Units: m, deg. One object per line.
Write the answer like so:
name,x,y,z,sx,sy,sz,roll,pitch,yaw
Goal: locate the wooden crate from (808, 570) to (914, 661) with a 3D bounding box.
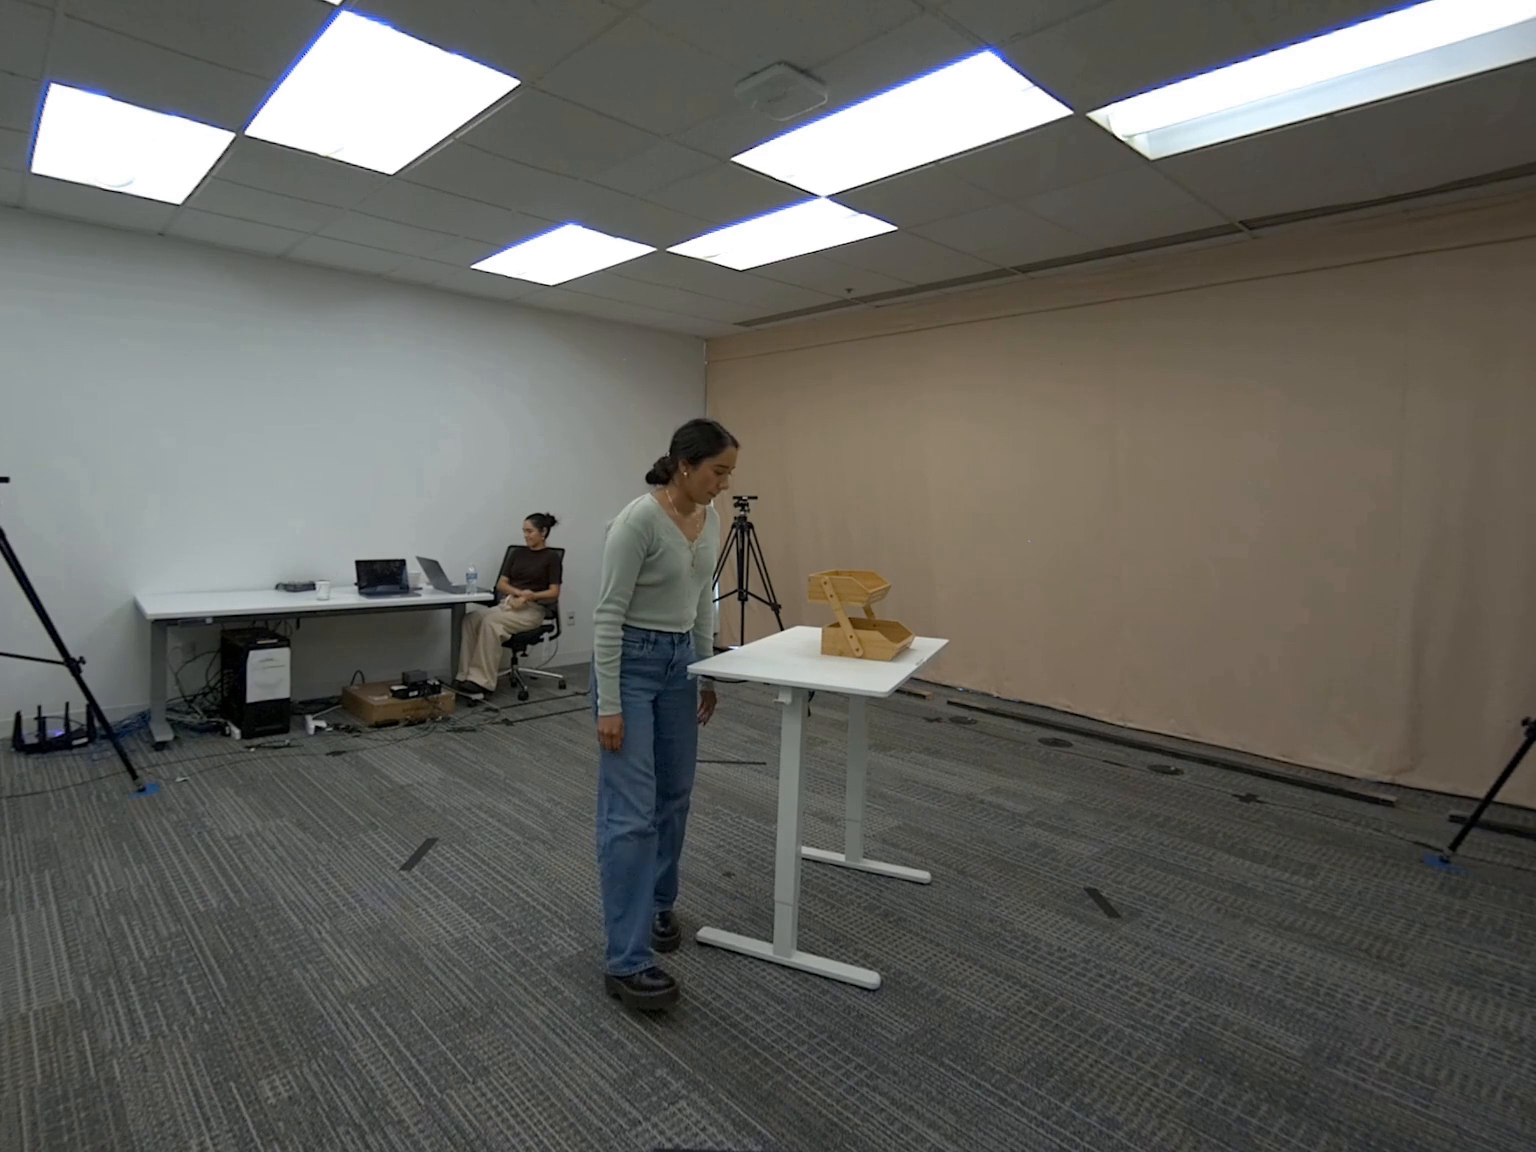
wooden crate,0.323,0.123,2.860,0.307,0.273,0.320,3,4,21
